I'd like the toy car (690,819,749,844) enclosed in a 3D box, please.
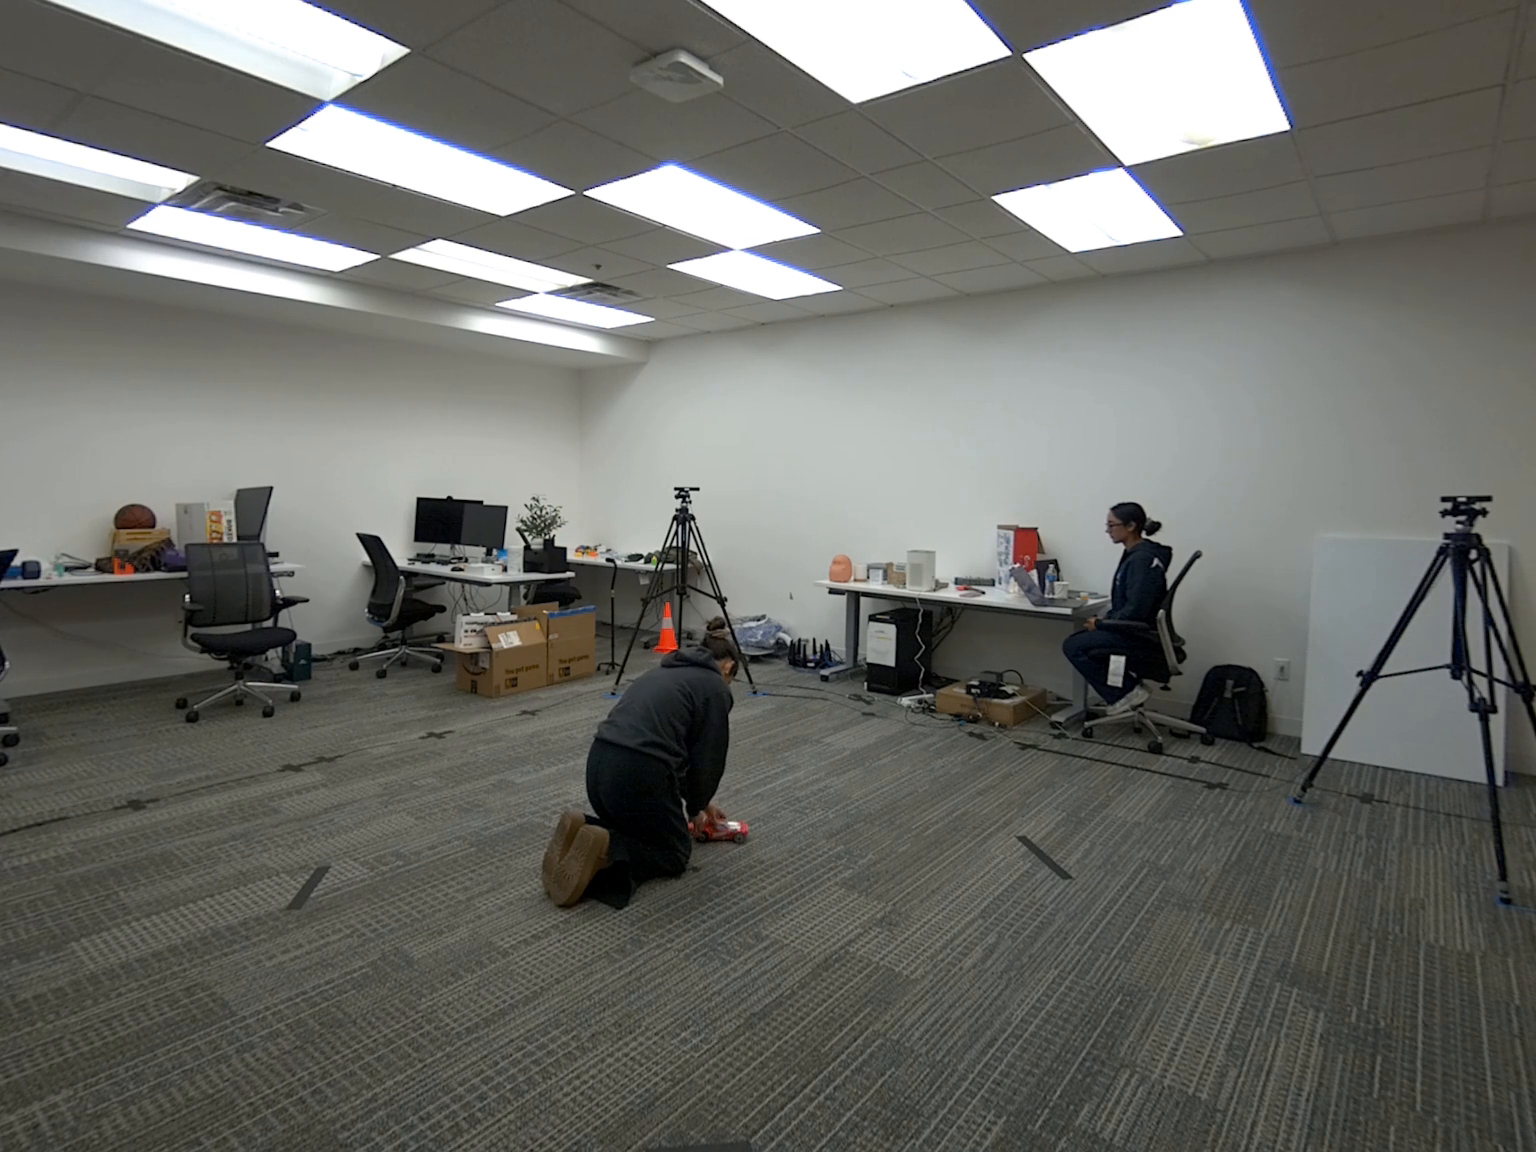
[{"bbox_3d":[-0.211,1.006,3.386,0.254,0.083,0.131,12,3,-3],"label":"toy car"}]
